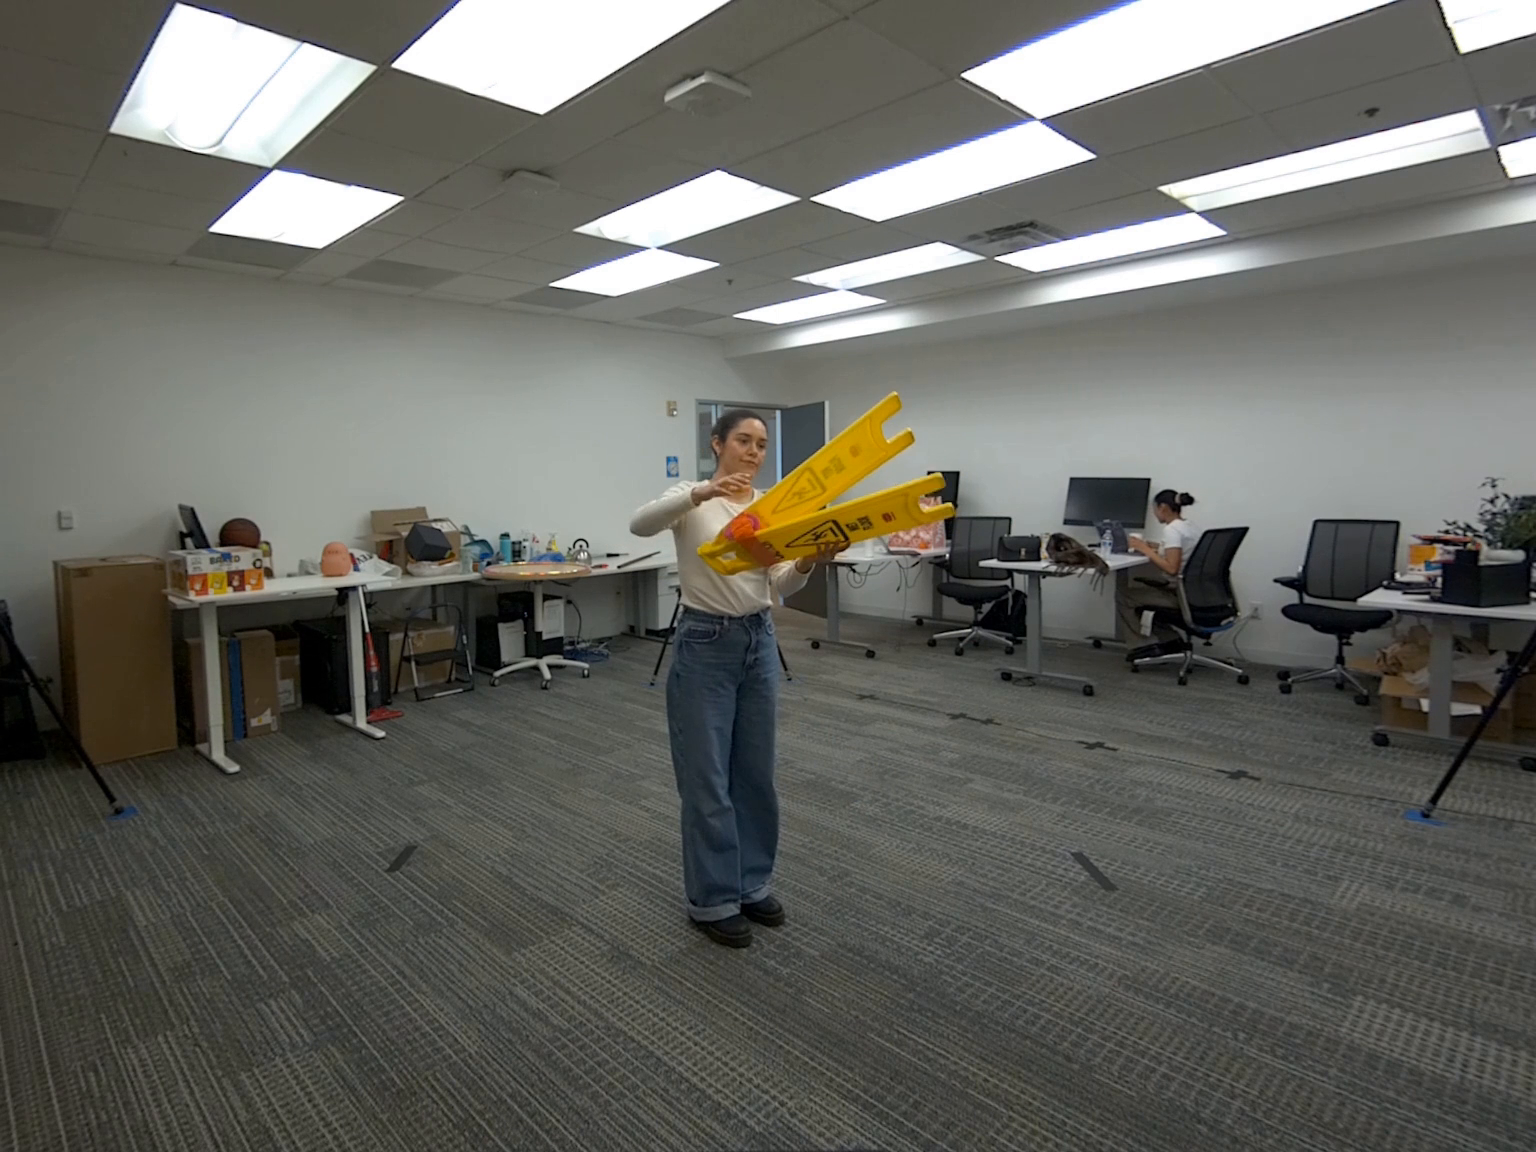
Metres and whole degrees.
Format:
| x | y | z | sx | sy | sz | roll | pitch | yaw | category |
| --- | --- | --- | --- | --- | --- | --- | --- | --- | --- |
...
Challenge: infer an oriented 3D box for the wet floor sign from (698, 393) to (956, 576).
| x | y | z | sx | sy | sz | roll | pitch | yaw | category |
| --- | --- | --- | --- | --- | --- | --- | --- | --- | --- |
| 0.132 | -0.167 | 2.266 | 0.649 | 0.298 | 0.273 | -26 | -27 | 12 | wet floor sign |
